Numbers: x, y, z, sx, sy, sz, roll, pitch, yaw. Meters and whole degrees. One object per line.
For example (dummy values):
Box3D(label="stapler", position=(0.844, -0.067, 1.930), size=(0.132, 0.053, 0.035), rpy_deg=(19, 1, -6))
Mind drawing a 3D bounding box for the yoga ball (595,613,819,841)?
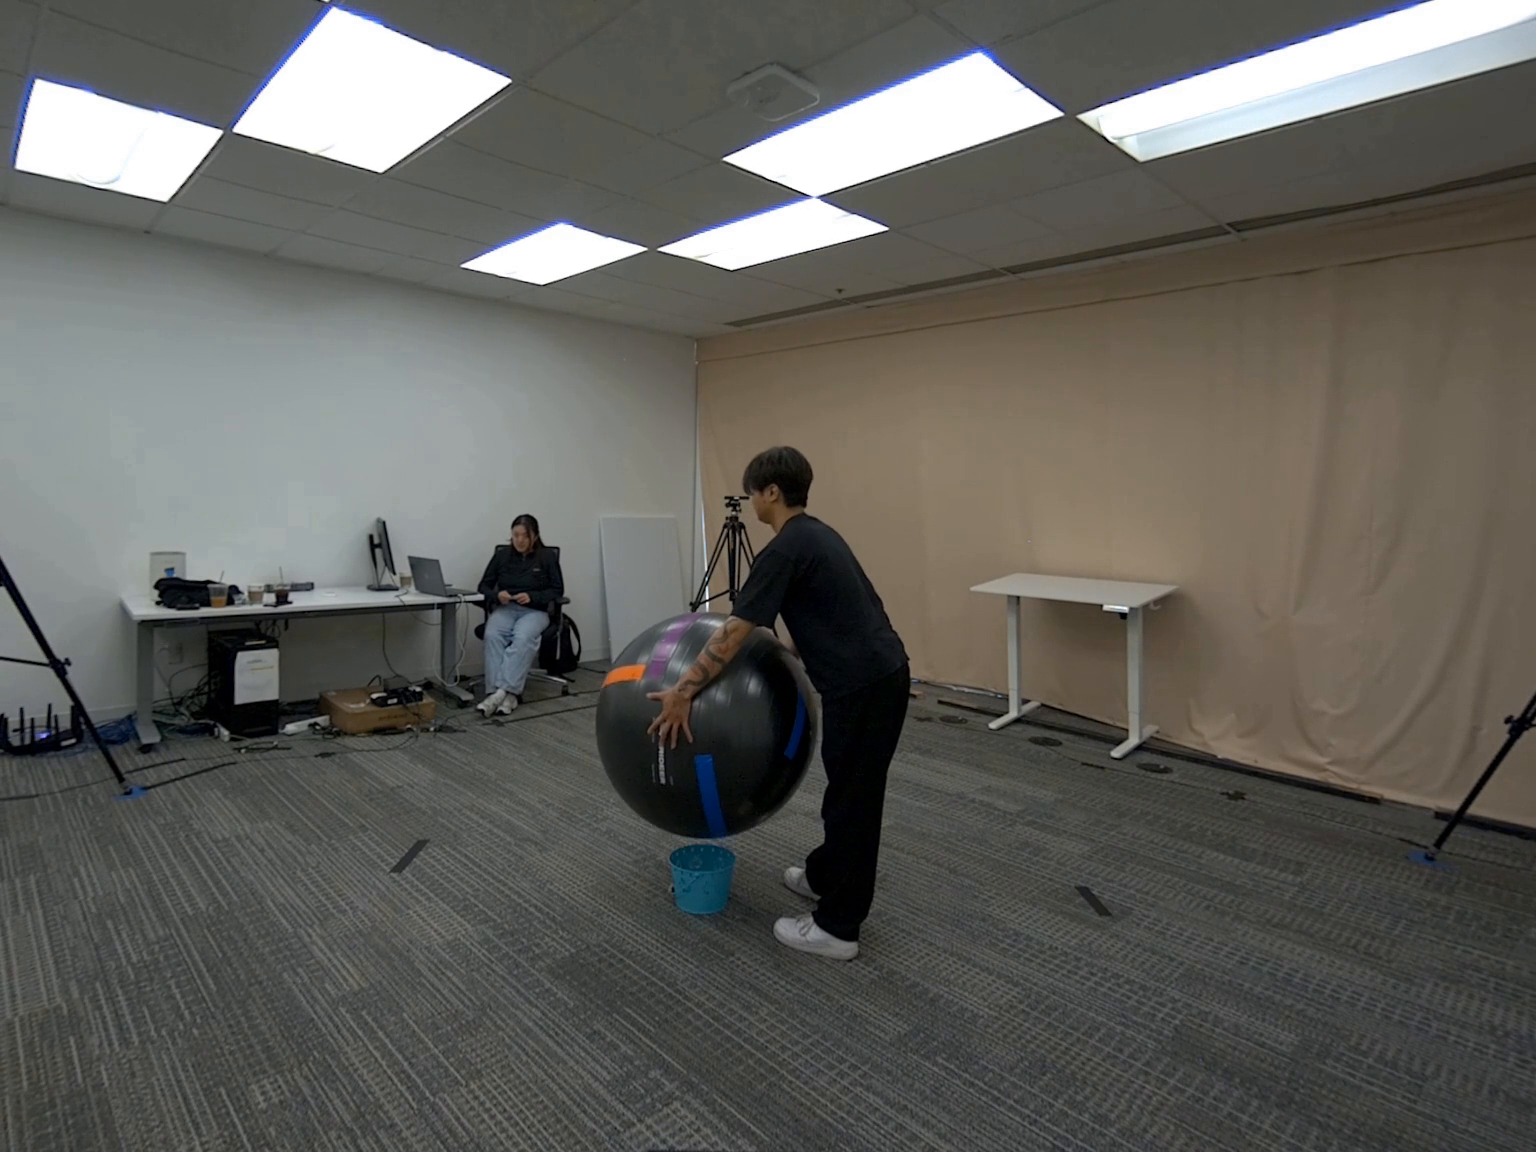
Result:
Box3D(label="yoga ball", position=(-0.222, 0.500, 2.905), size=(0.757, 0.756, 0.761), rpy_deg=(1, 4, -1))
